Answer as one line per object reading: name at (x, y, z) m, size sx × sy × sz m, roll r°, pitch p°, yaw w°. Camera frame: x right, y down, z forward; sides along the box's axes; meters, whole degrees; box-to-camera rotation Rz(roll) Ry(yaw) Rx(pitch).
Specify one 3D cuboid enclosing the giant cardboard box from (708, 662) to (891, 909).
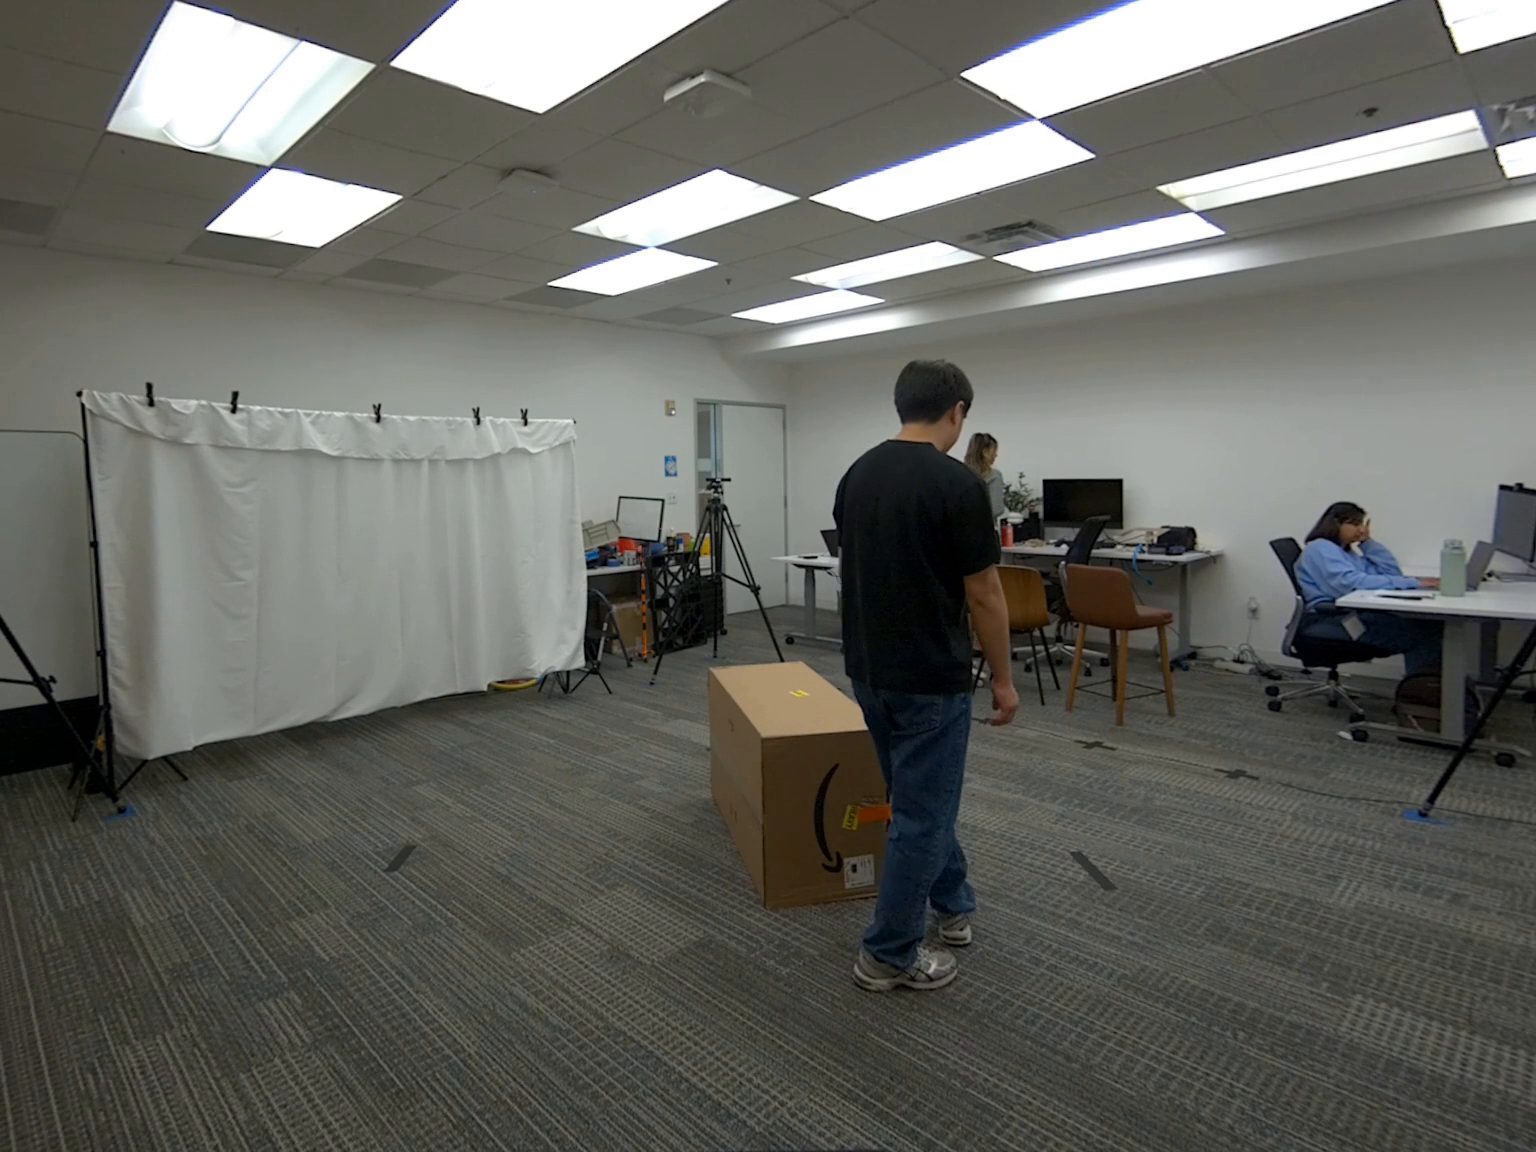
giant cardboard box at (0.074, 0.730, 3.283) m, size 0.441 × 0.581 × 1.044 m, roll -1°, pitch 6°, yaw -14°
